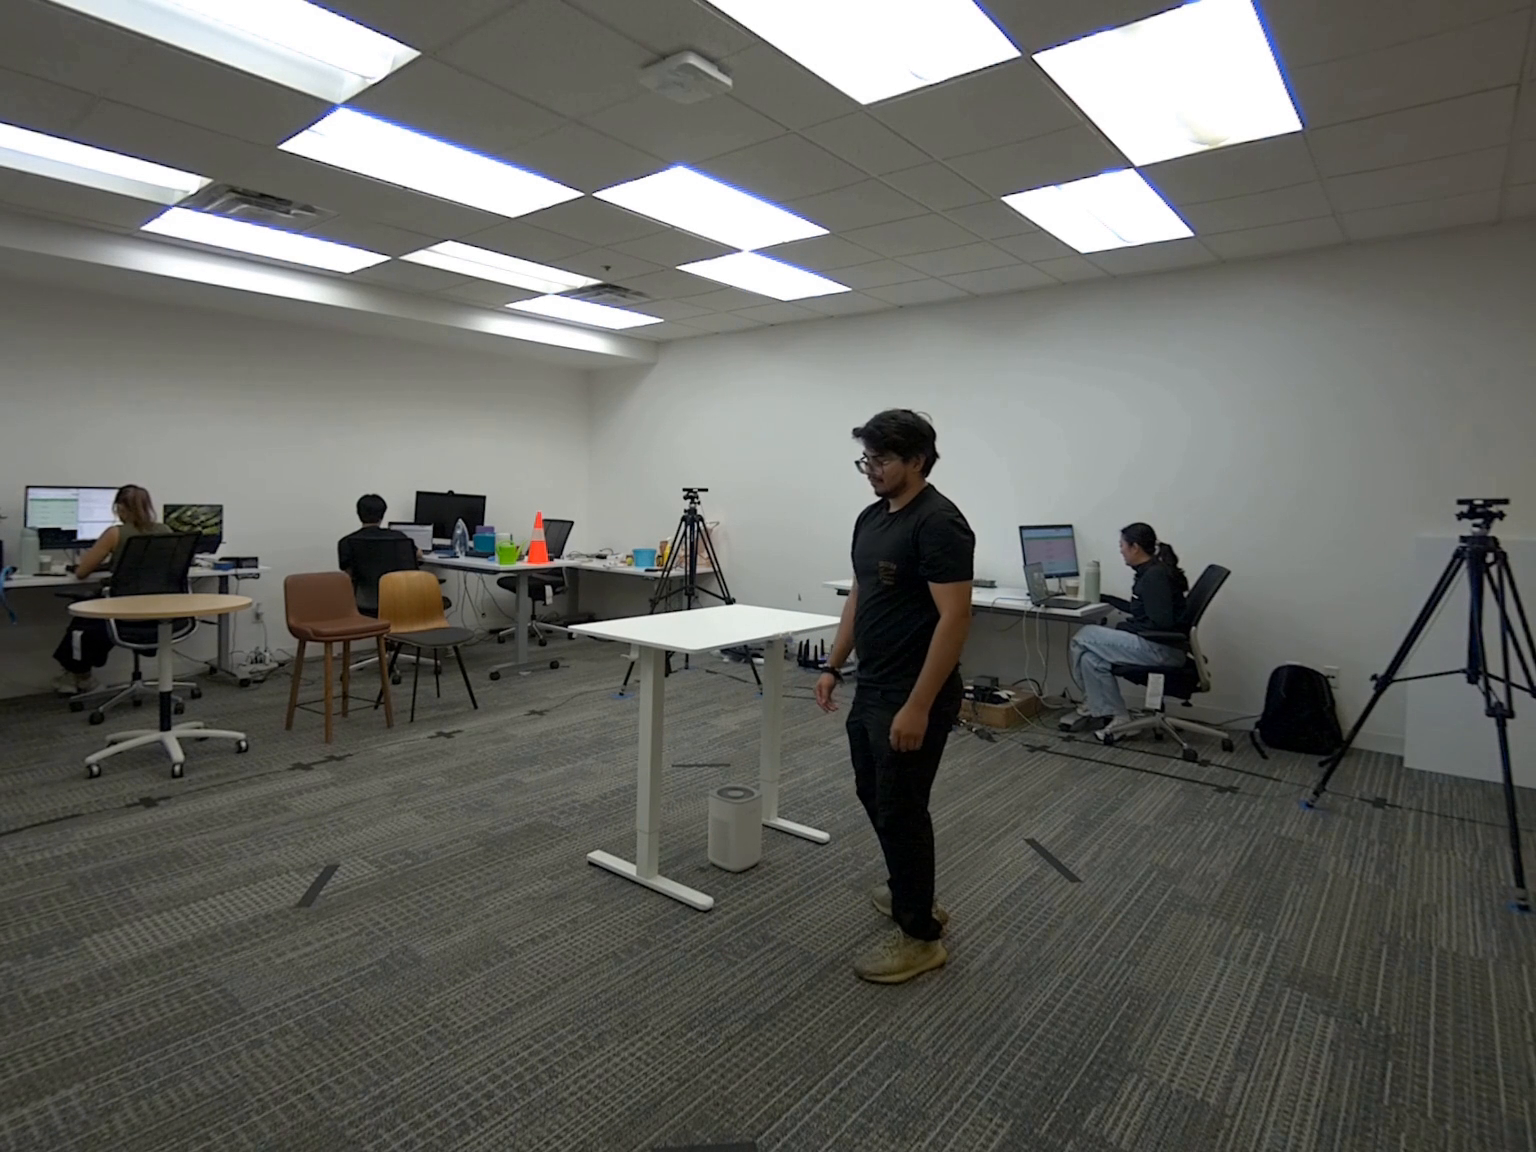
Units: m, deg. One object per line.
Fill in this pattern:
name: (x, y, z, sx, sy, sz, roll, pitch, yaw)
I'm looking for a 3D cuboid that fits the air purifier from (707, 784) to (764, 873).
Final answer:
air purifier: (-0.132, 0.930, 3.159, 0.177, 0.265, 0.166, 3, 4, 38)
